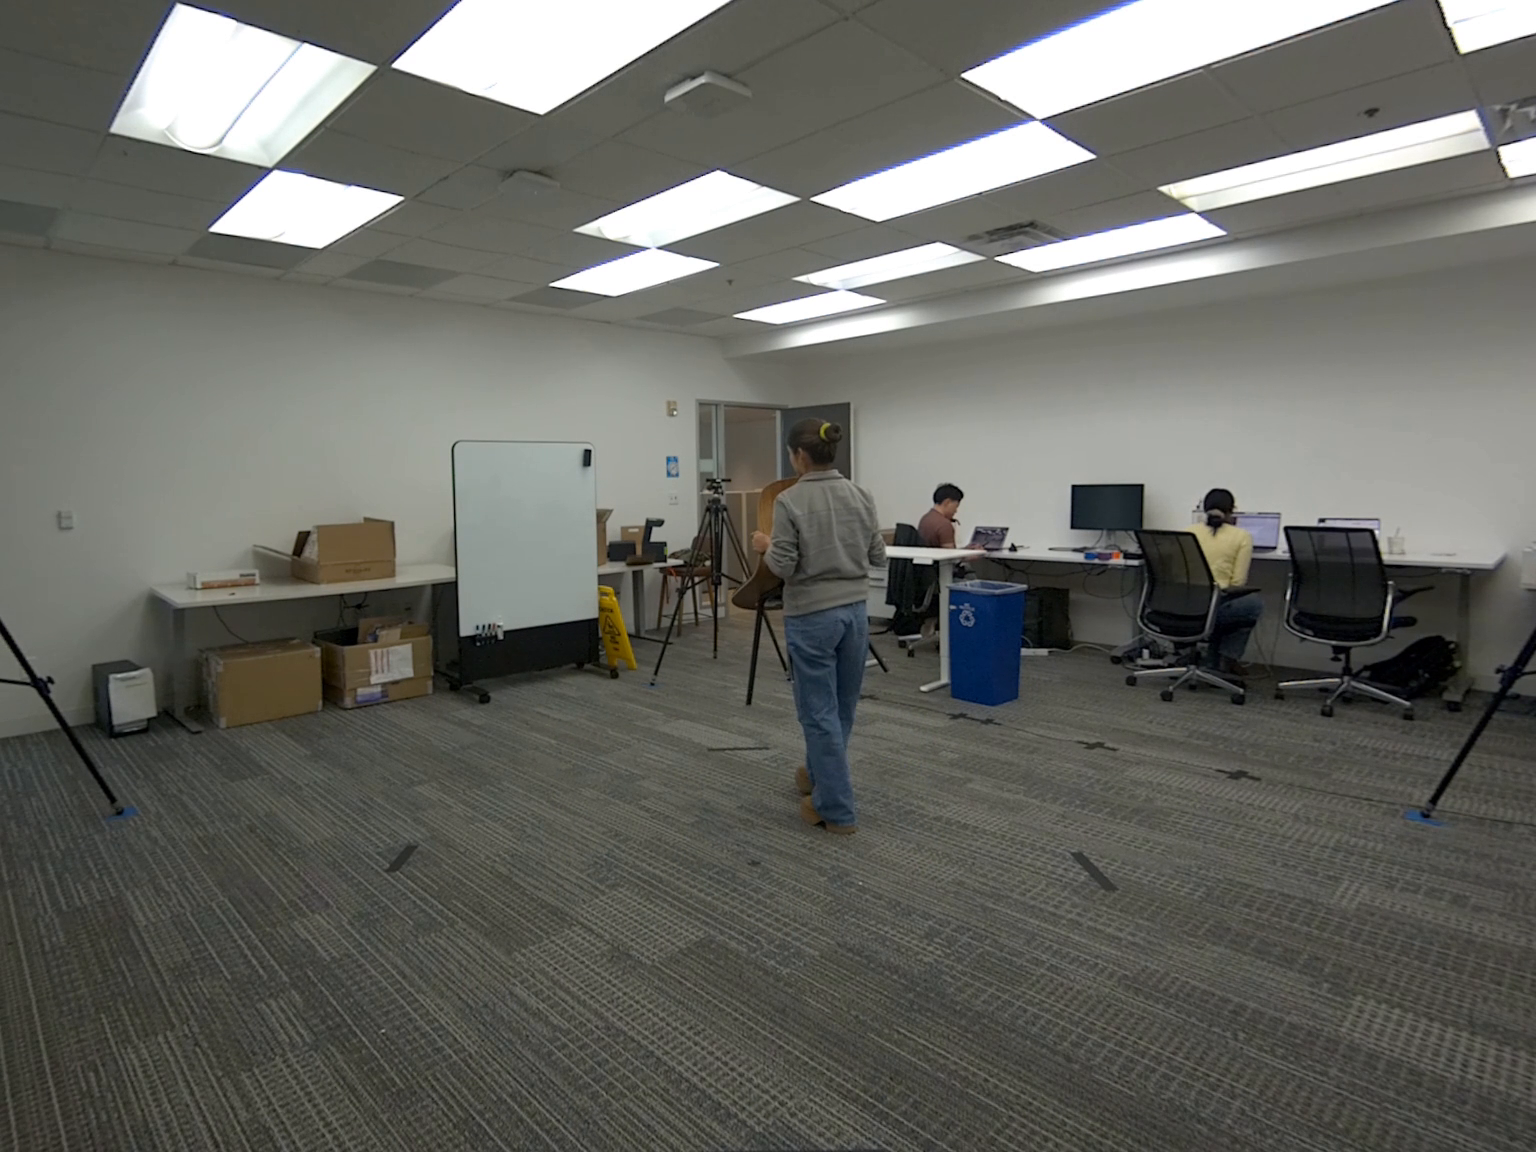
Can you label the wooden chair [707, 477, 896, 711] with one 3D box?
[{"bbox_3d":[0.115,0.077,3.692,0.468,0.891,0.526,-2,-16,-25],"label":"wooden chair"}]
